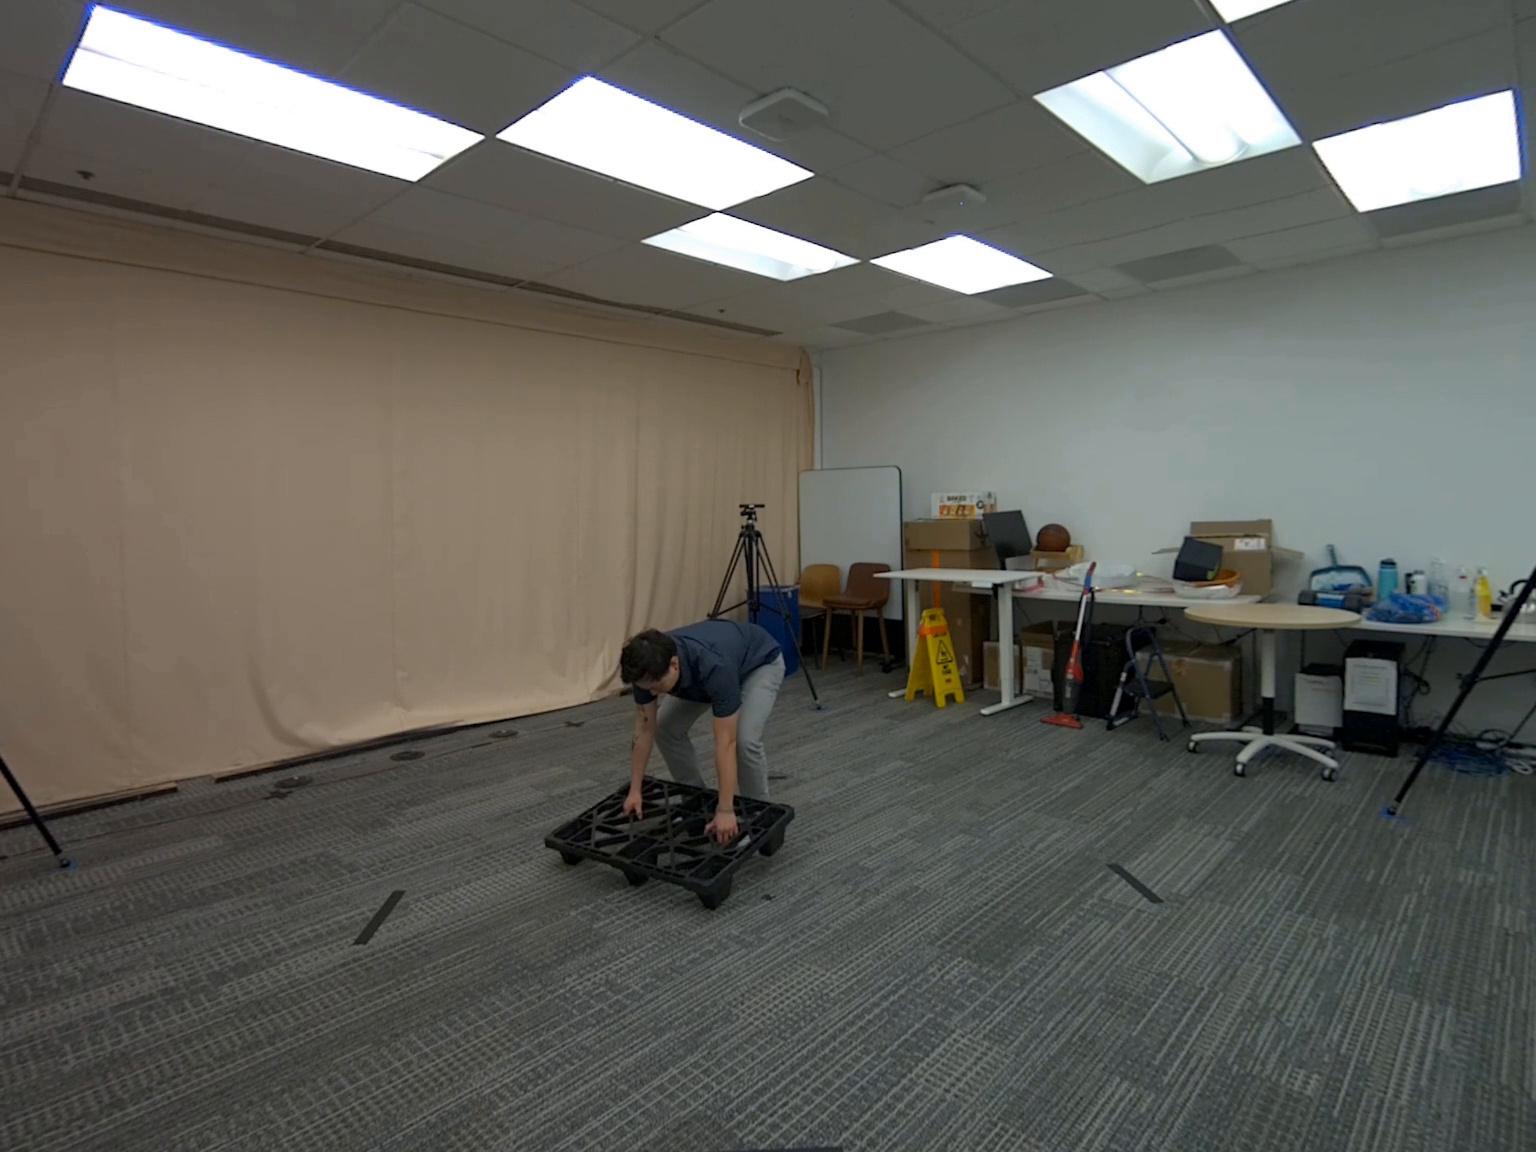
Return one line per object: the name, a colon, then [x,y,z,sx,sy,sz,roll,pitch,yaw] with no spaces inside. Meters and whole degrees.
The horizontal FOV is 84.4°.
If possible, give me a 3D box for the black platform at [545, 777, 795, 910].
black platform: [-0.378,1.021,3.283,0.830,0.142,0.591,2,14,34]
